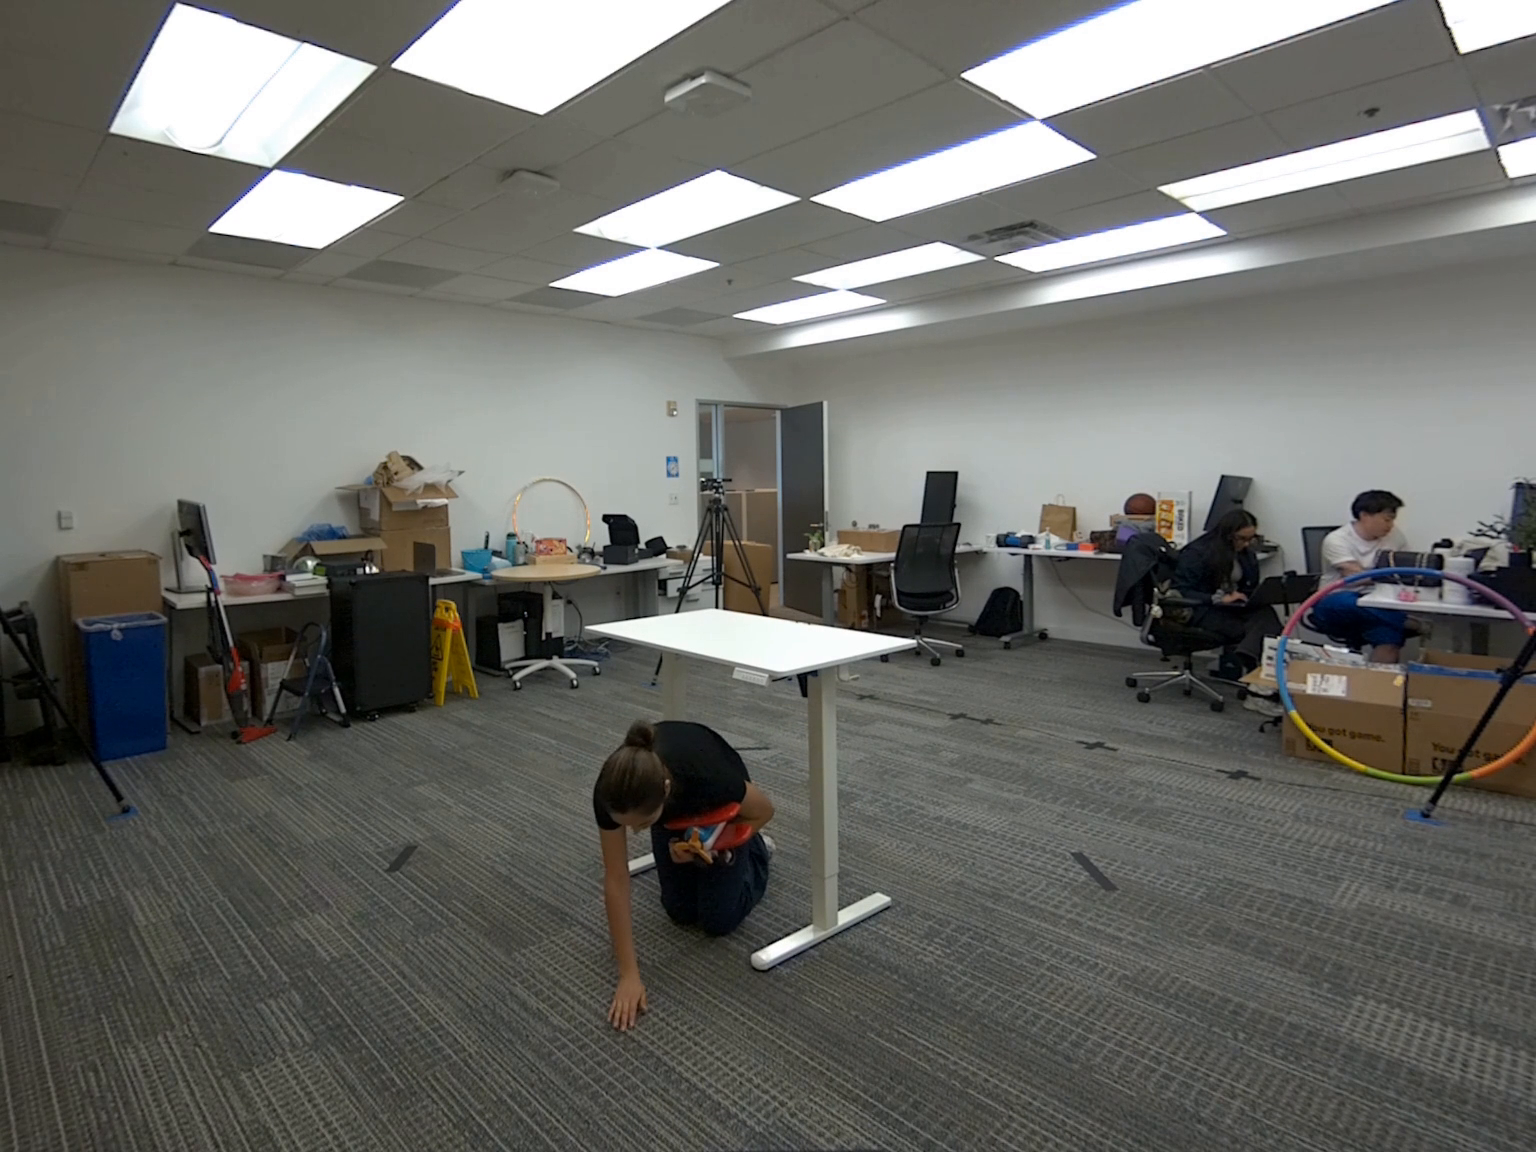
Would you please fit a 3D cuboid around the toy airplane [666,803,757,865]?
[{"bbox_3d":[-0.174,0.716,2.475,0.251,0.152,0.266,-33,25,6],"label":"toy airplane"}]
